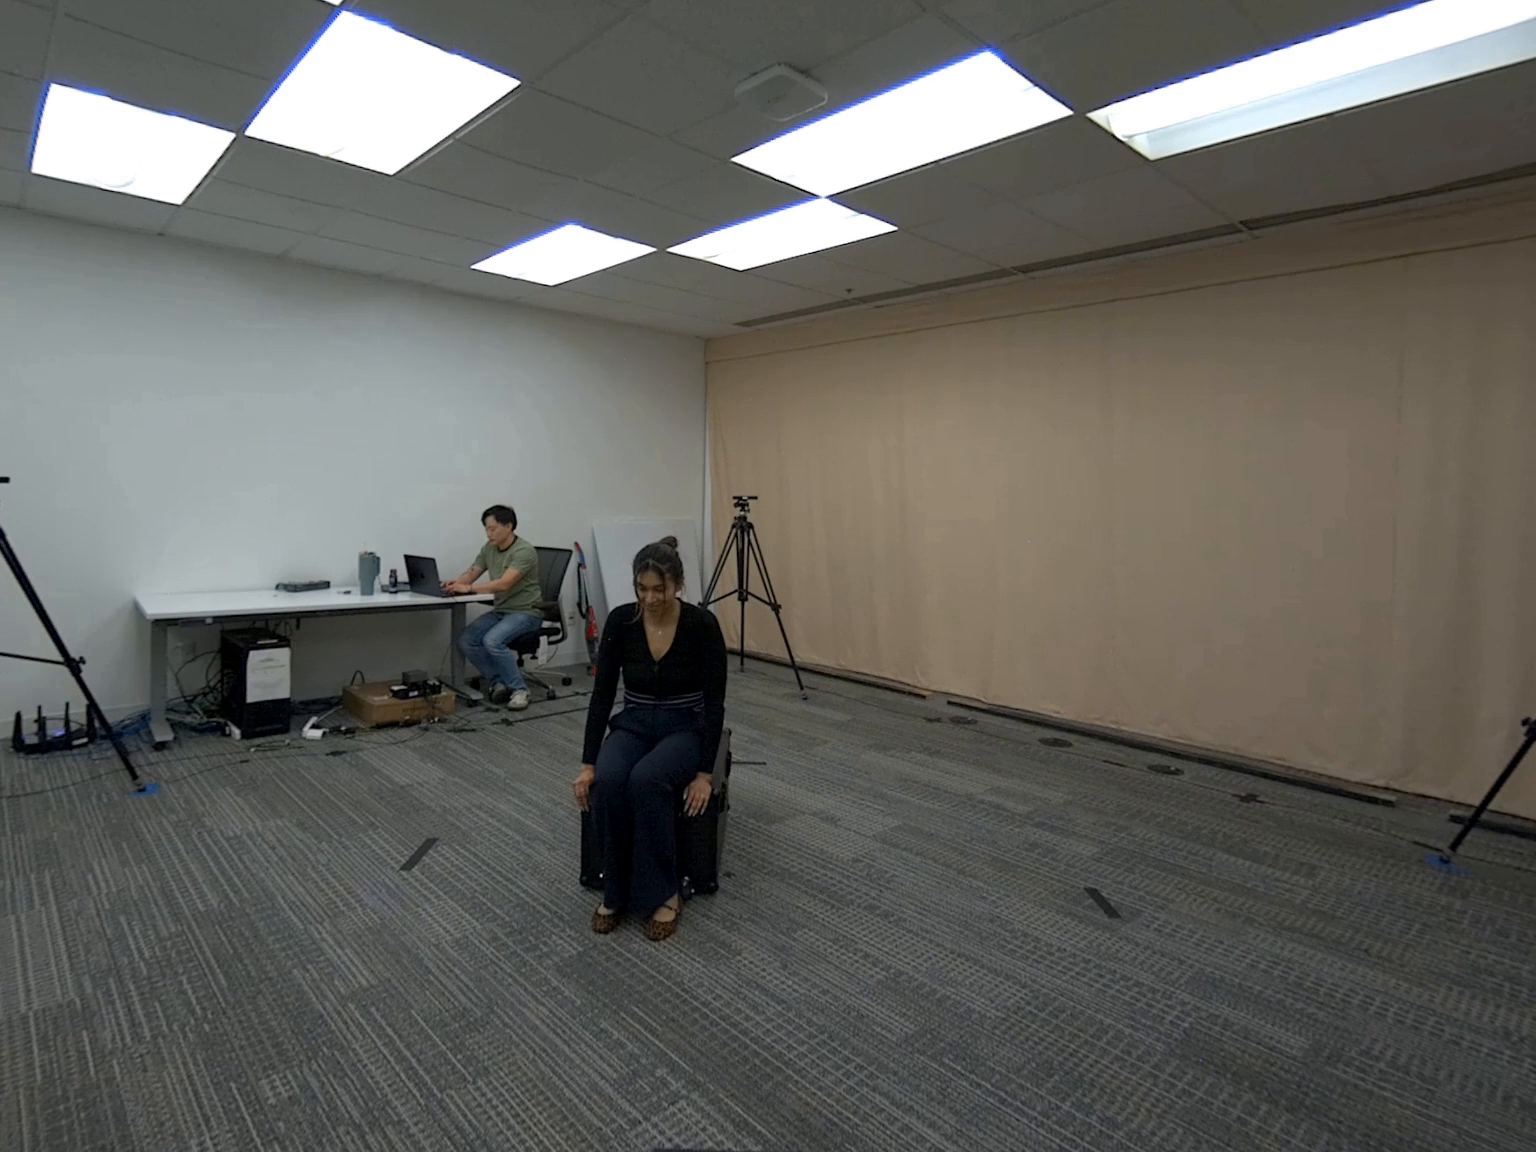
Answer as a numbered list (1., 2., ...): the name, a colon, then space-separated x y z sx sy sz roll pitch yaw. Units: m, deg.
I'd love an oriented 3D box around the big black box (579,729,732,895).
1. big black box: -0.420 0.890 3.278 0.522 0.395 0.863 2 6 1
